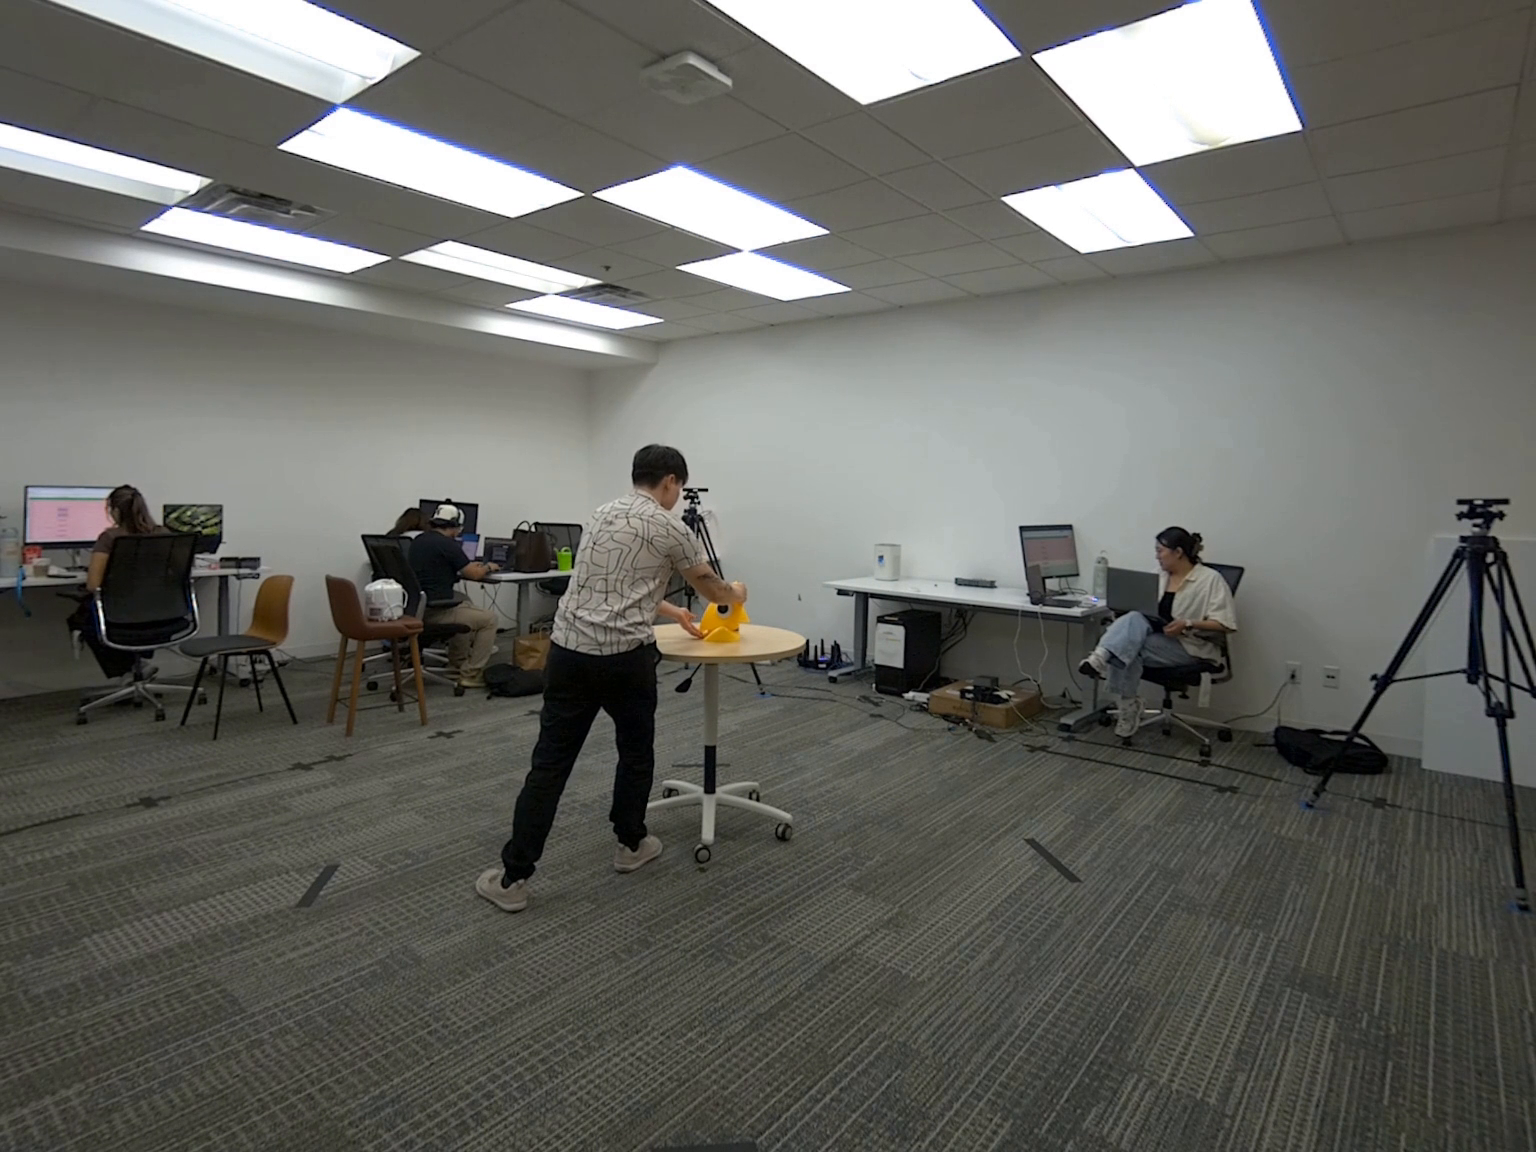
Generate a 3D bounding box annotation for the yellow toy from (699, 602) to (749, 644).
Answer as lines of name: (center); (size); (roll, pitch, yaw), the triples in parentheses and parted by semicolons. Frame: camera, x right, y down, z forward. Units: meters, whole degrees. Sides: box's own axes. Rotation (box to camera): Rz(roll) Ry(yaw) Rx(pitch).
yellow toy: (-0.199, 0.136, 3.490); (0.190, 0.230, 0.209); (0, 5, -15)
